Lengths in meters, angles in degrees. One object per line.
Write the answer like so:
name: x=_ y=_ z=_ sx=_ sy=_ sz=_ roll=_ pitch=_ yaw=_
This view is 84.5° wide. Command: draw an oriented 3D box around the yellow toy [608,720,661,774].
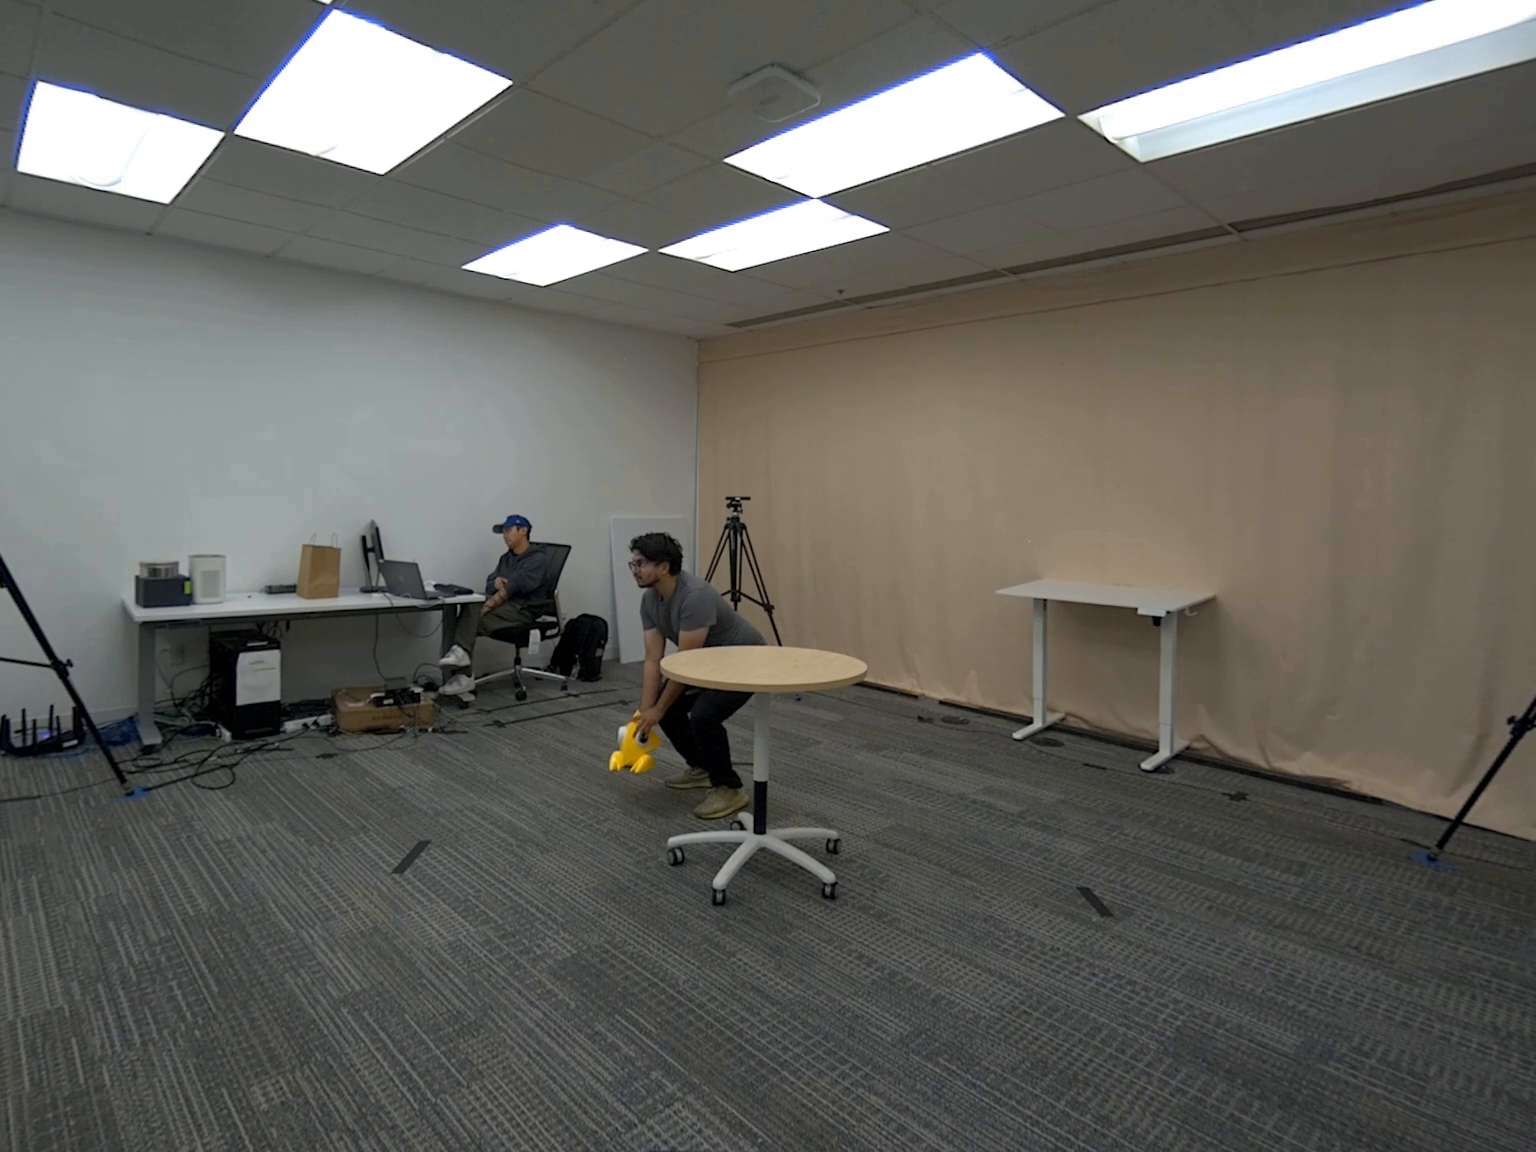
yellow toy: x=-0.614 y=0.722 z=3.744 sx=0.208 sy=0.230 sz=0.190 roll=0 pitch=5 yaw=24
